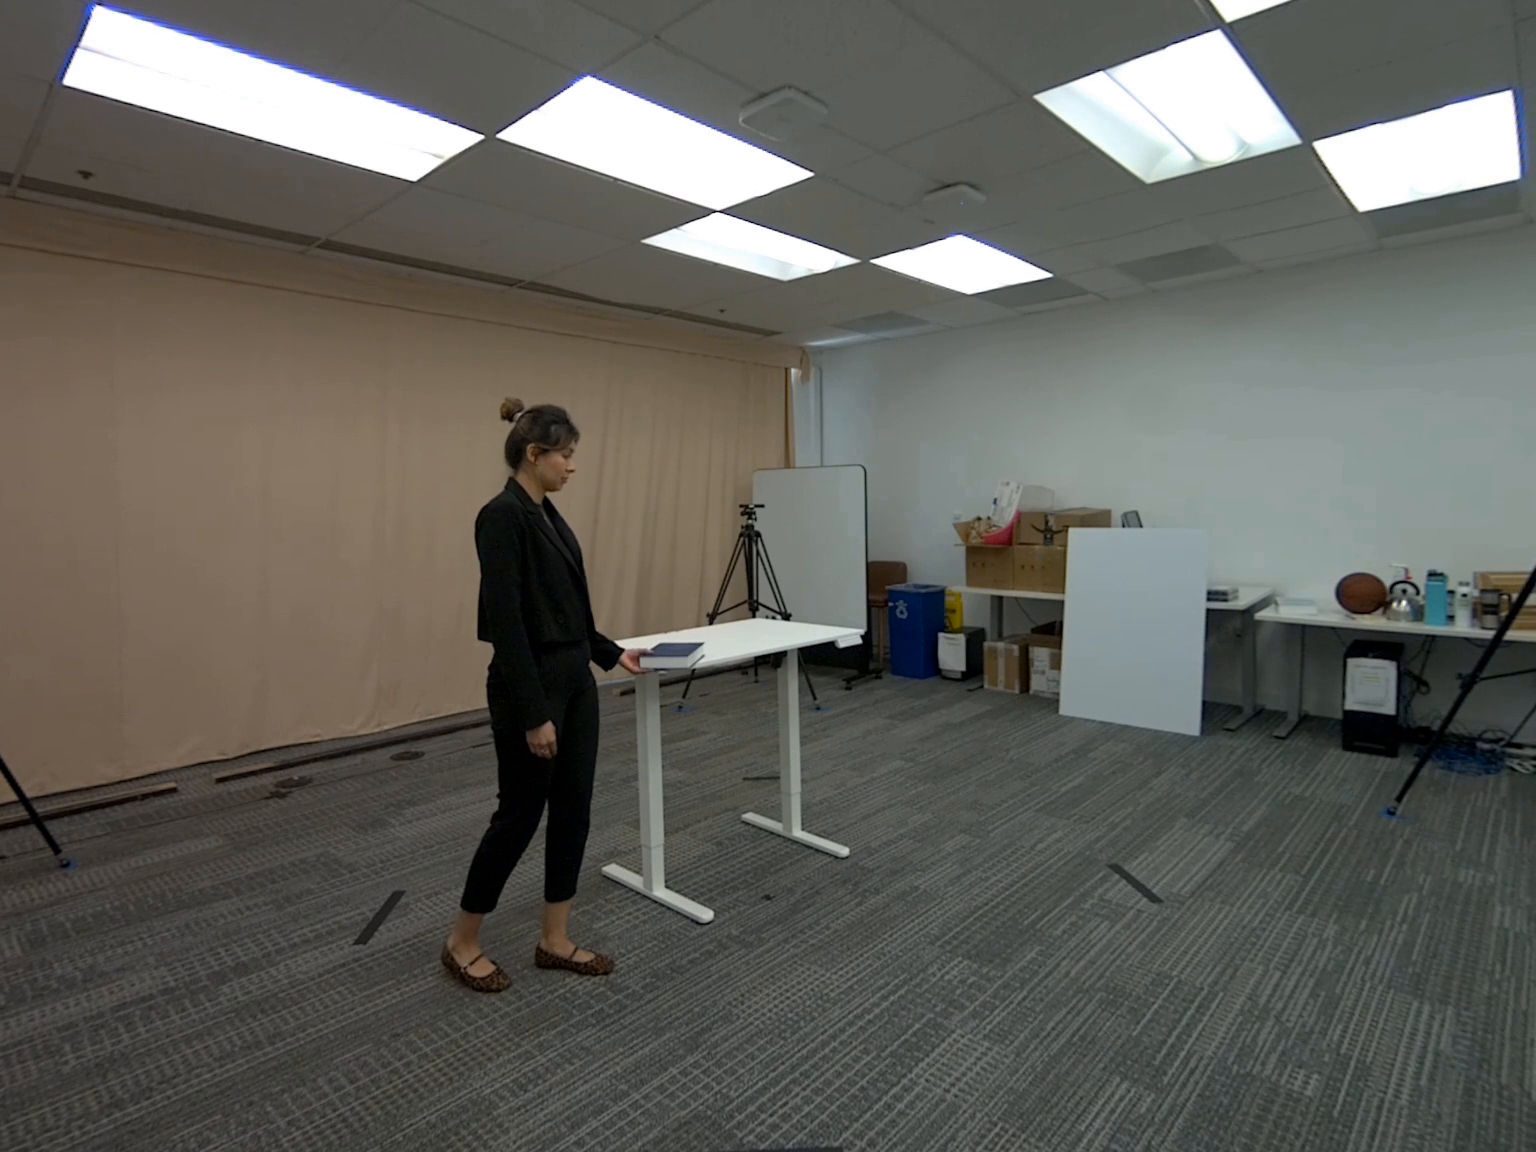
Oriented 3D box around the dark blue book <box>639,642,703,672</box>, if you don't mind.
[{"bbox_3d":[-0.302,0.254,2.764,0.165,0.045,0.243,-2,5,8],"label":"dark blue book"}]
